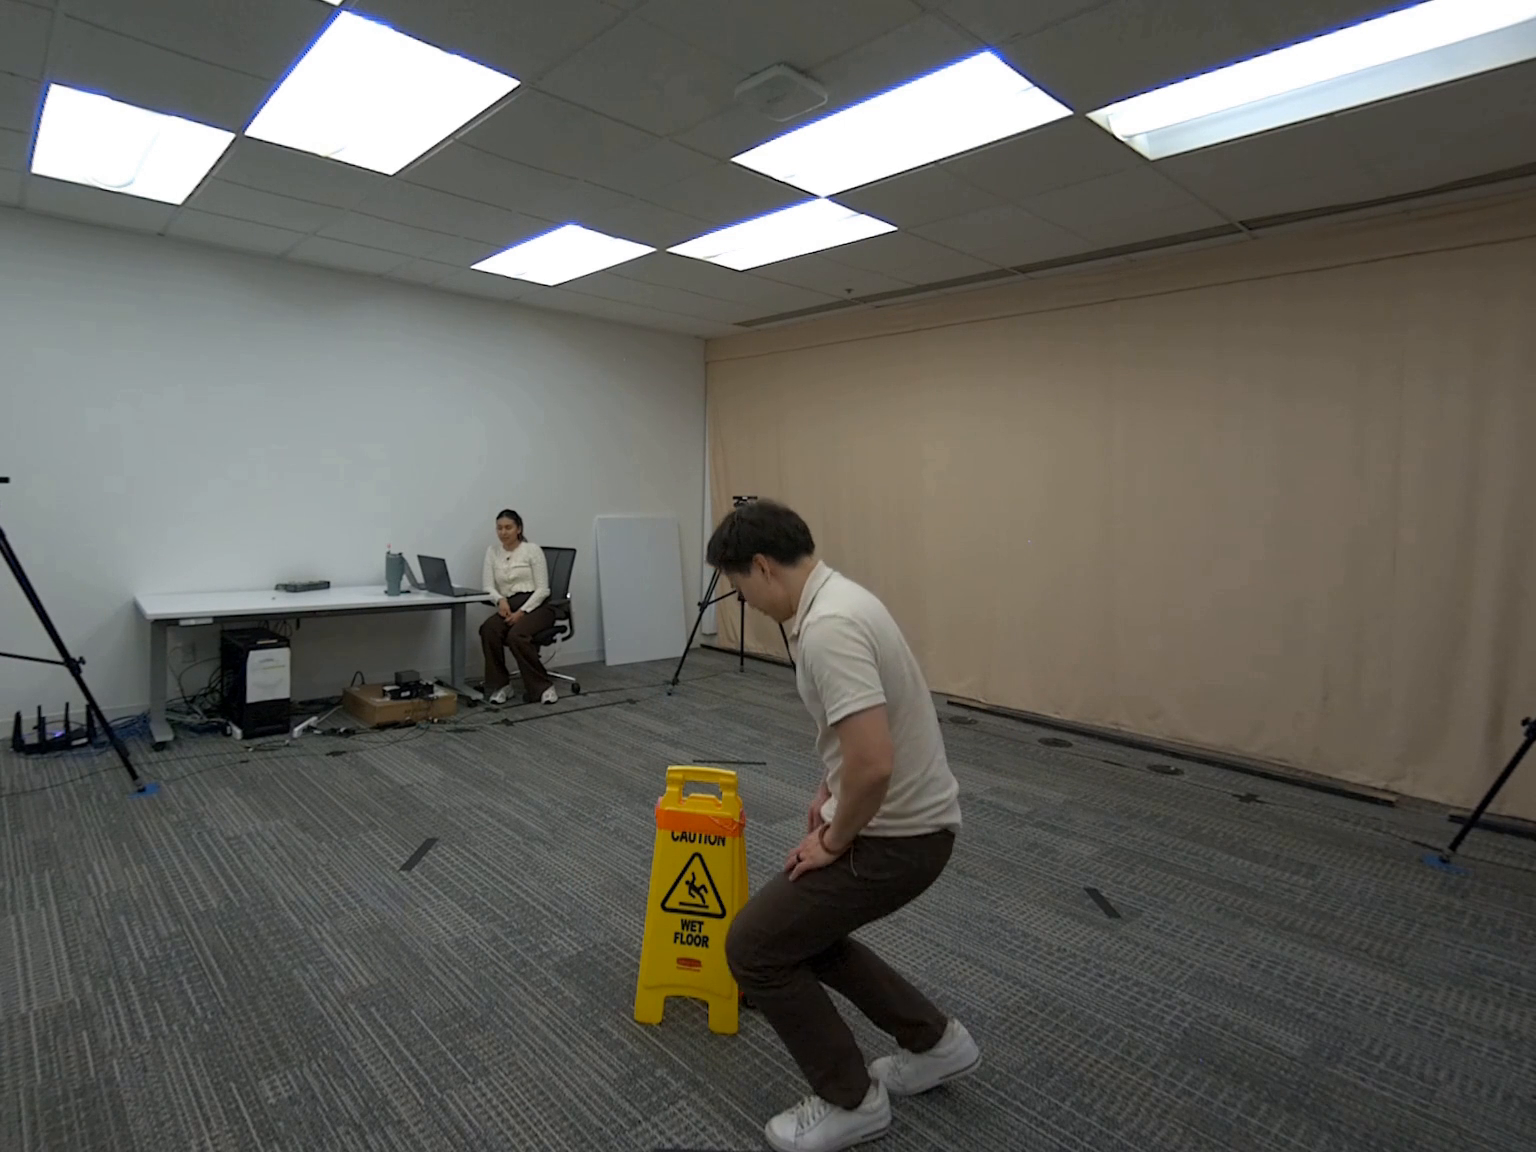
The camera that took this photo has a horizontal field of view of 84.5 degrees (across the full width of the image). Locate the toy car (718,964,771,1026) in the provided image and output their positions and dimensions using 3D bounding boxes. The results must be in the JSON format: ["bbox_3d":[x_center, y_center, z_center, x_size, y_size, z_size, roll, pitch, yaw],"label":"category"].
[{"bbox_3d":[0.003,1.153,2.328,0.256,0.083,0.130,13,5,5],"label":"toy car"}]
